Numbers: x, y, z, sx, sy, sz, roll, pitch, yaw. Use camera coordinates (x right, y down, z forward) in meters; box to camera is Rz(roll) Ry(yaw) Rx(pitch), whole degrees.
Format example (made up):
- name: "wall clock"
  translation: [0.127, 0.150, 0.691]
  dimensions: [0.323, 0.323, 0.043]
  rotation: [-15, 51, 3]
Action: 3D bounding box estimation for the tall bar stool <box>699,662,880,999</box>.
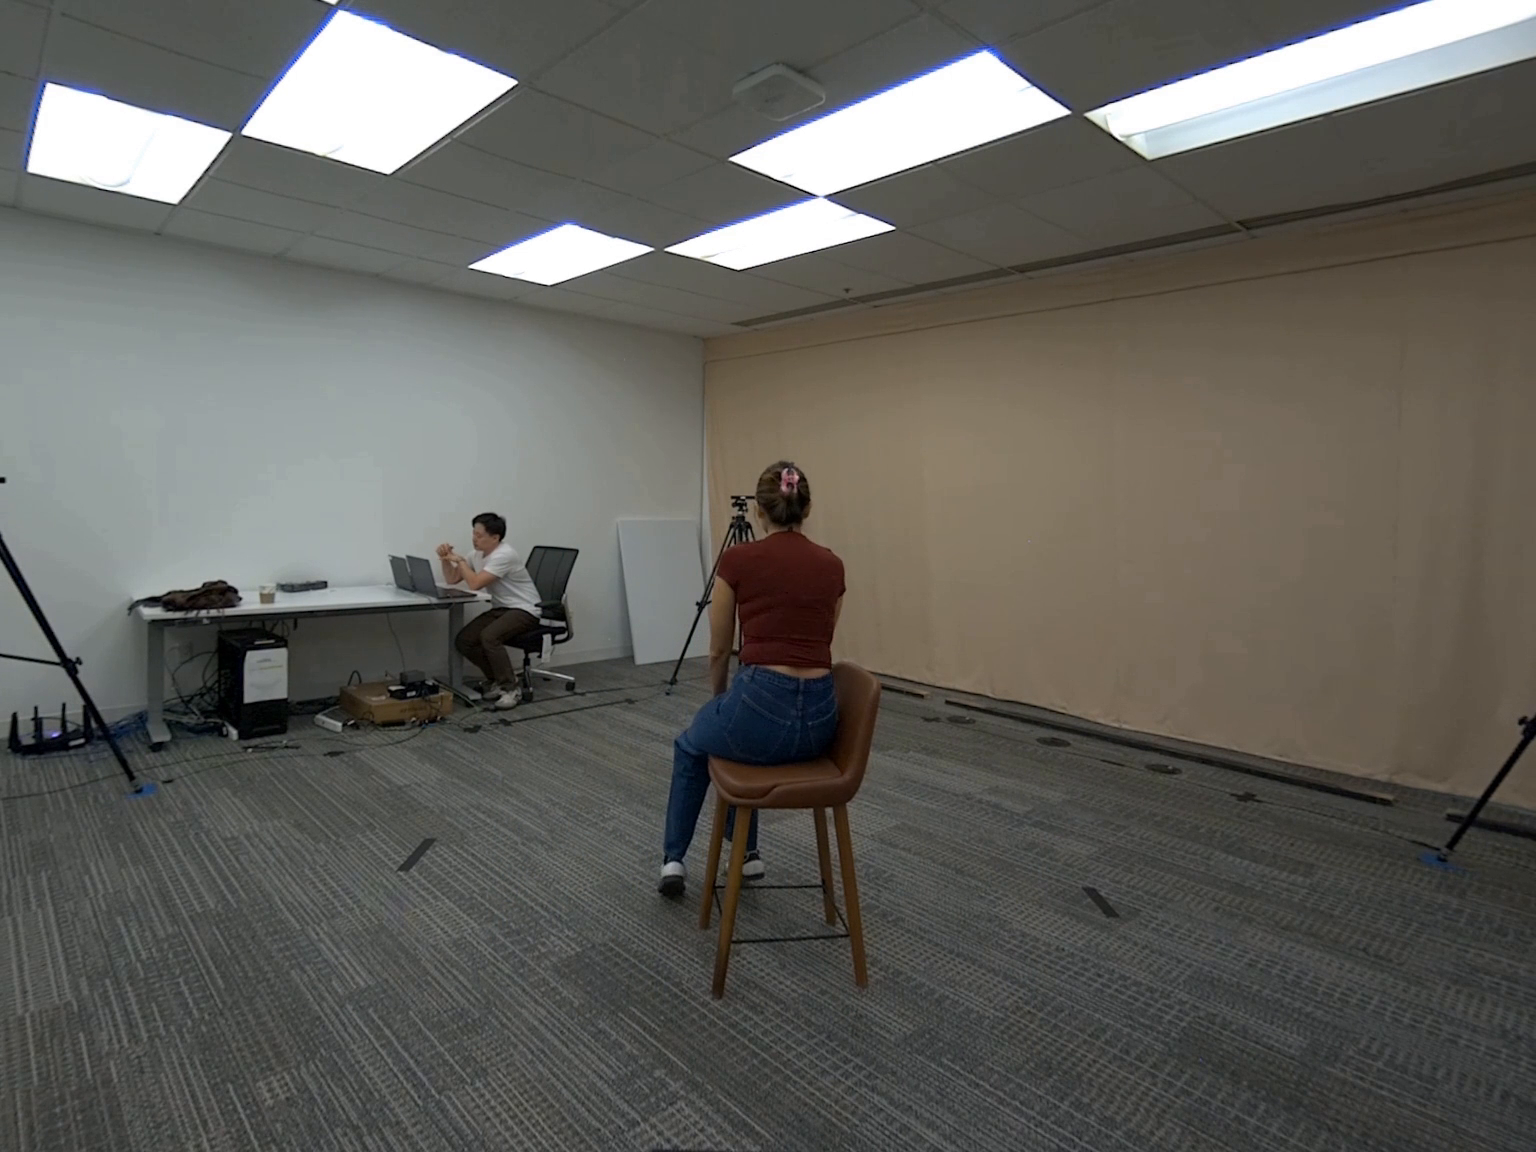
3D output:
- name: "tall bar stool"
  translation: [0.055, 0.729, 2.526]
  dimensions: [0.463, 0.887, 0.462]
  rotation: [2, 4, -11]
